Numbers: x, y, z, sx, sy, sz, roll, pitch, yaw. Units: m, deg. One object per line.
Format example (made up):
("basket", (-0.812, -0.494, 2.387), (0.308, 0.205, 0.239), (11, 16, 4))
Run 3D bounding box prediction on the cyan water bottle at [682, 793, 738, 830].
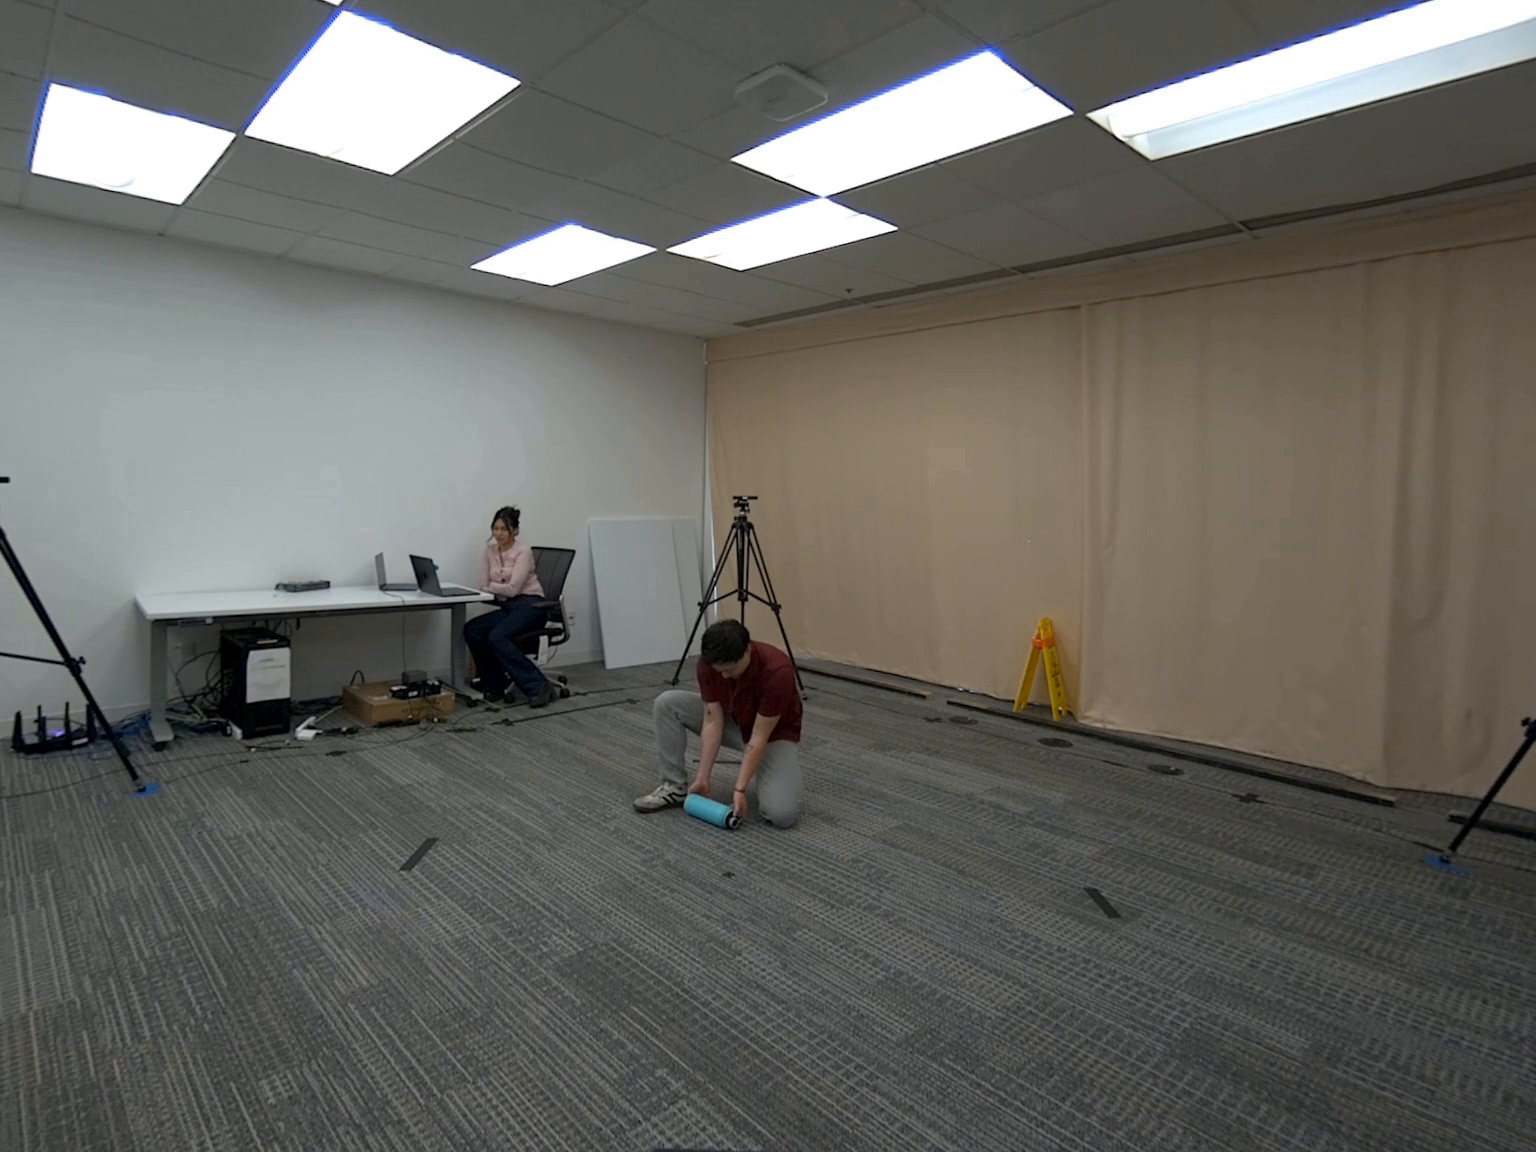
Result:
("cyan water bottle", (-0.248, 1.011, 3.608), (0.291, 0.092, 0.090), (7, 7, 39))
